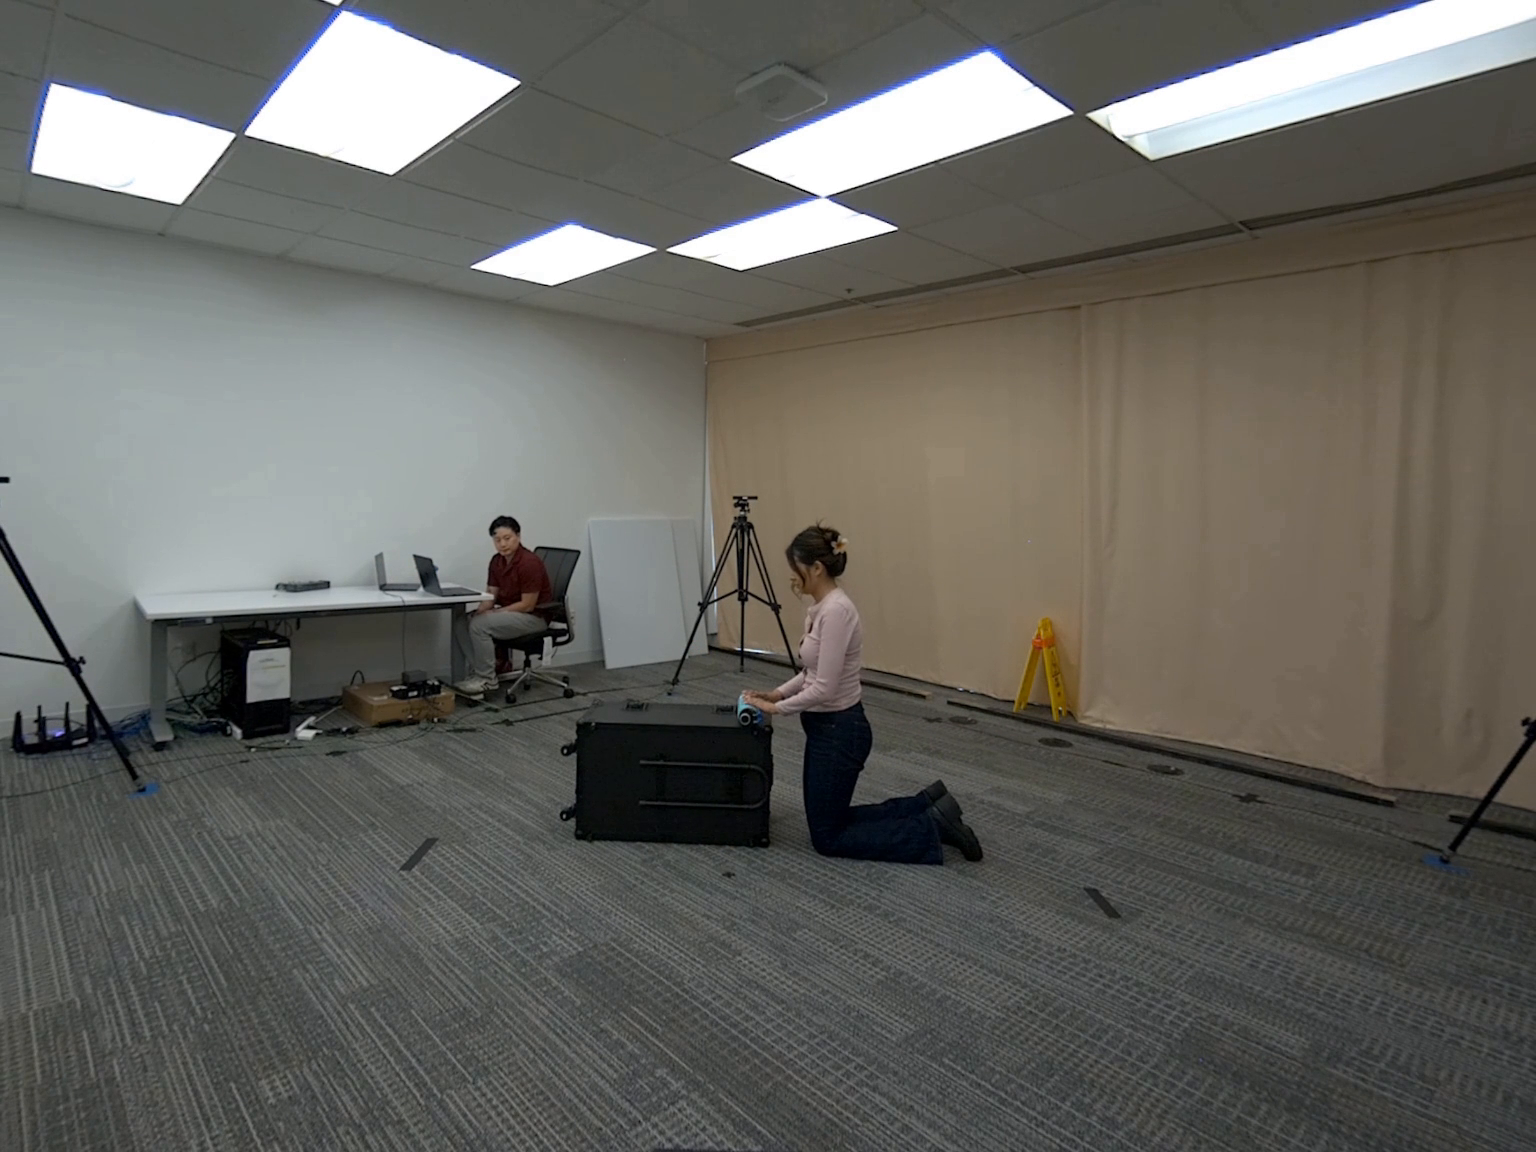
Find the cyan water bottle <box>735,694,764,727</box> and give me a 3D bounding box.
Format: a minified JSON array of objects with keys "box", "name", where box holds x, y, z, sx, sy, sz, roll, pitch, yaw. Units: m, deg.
[{"box":[-0.086,0.548,3.431,0.092,0.092,0.284,1,6,-2],"name":"cyan water bottle"}]
